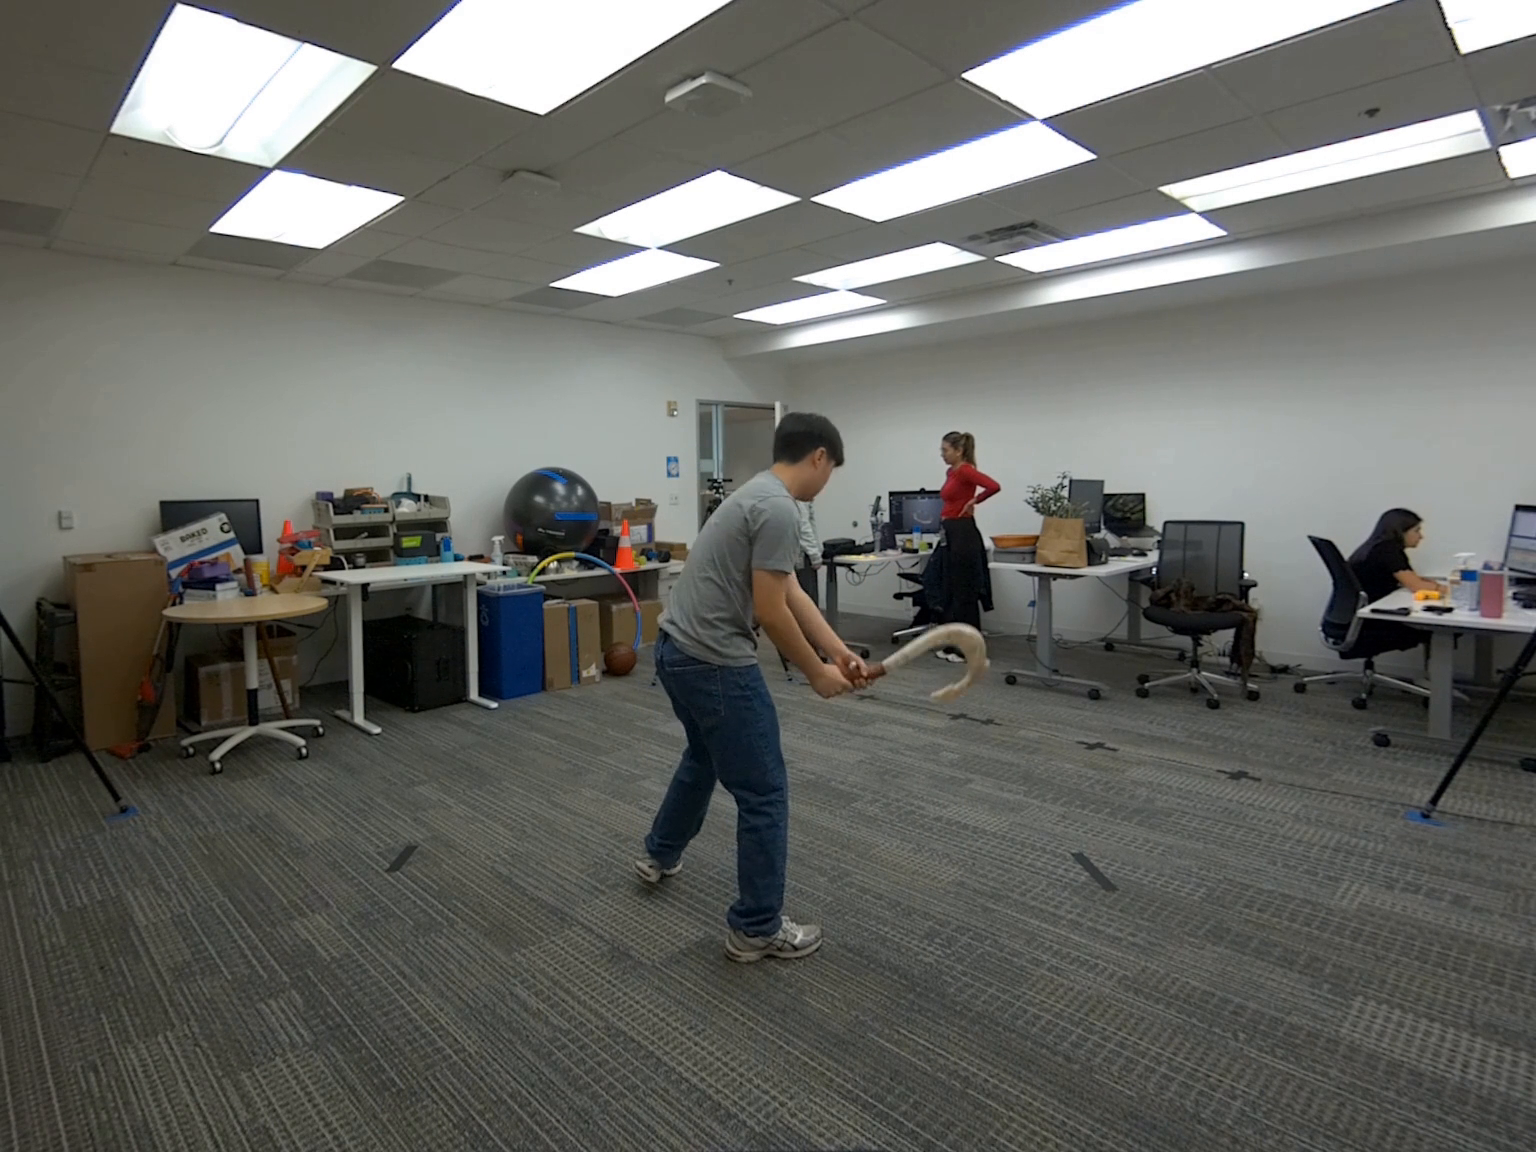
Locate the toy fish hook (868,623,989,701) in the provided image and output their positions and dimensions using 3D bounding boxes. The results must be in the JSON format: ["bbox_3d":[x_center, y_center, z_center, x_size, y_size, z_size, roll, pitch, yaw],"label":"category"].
[{"bbox_3d":[0.387,0.309,2.570,0.506,0.224,0.048,-18,1,0],"label":"toy fish hook"}]
